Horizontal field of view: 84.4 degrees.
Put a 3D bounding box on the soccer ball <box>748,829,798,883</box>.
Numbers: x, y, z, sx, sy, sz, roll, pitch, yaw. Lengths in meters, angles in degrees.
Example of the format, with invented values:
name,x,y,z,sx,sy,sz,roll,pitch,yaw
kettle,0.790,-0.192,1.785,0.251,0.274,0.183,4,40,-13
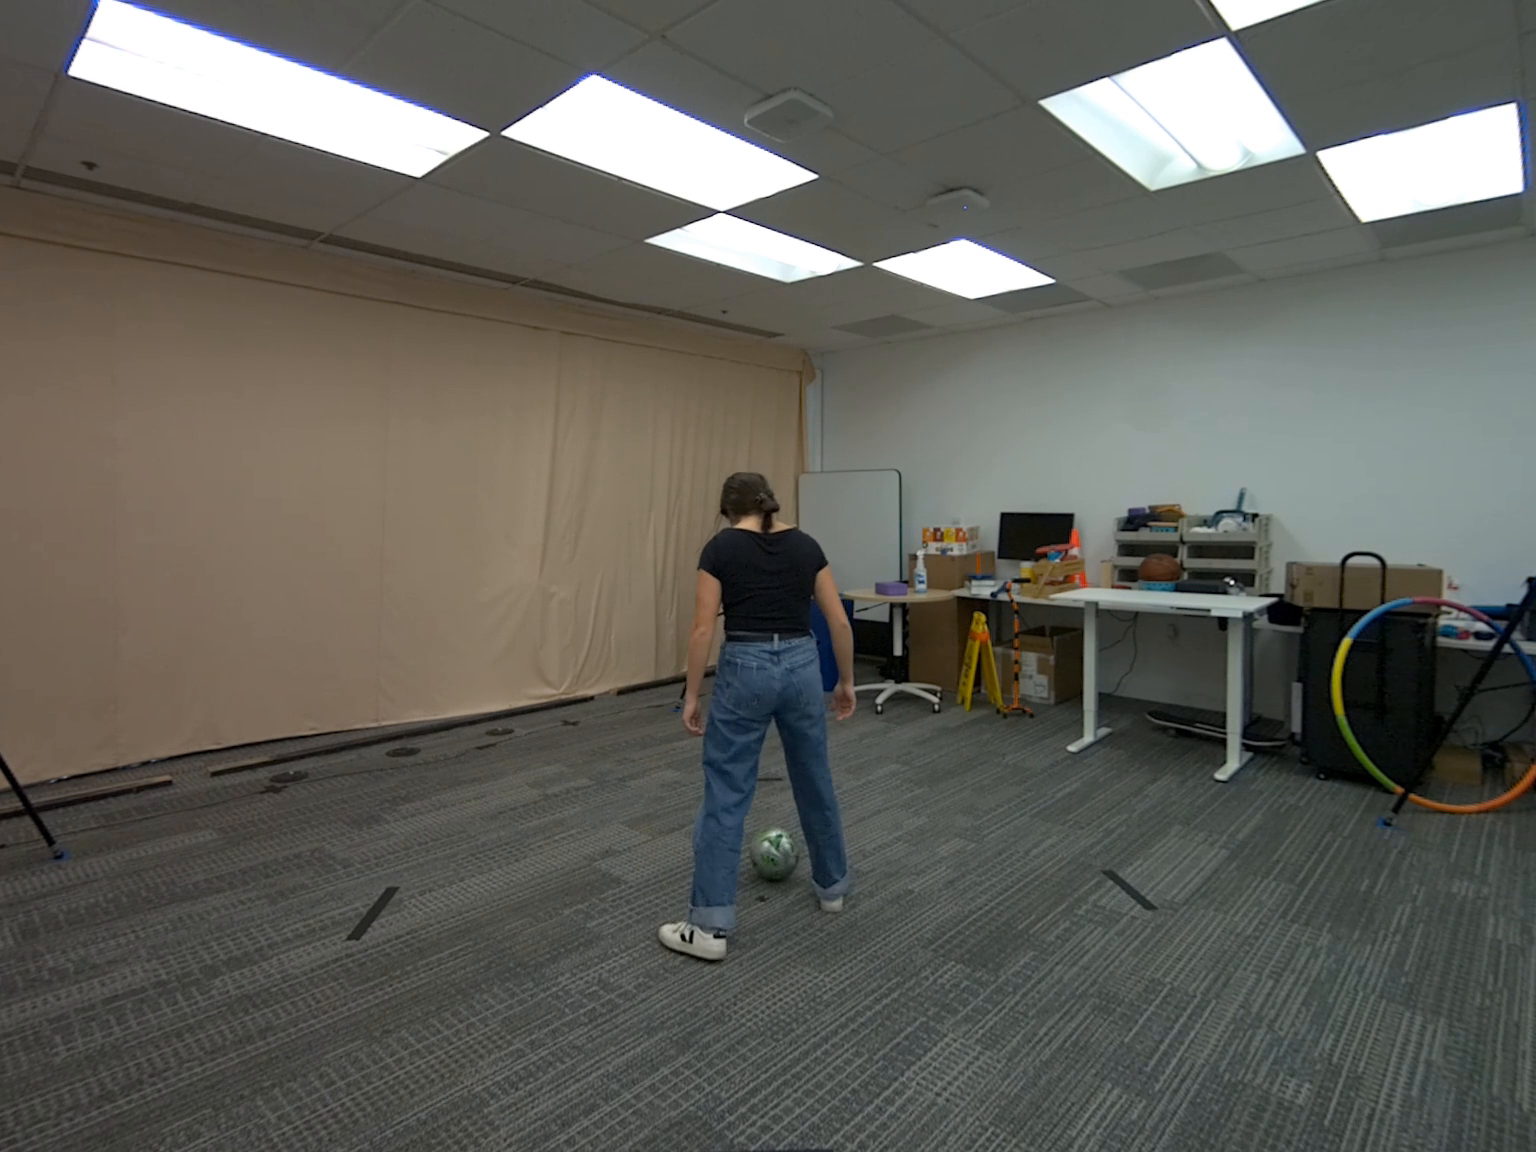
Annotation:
name,x,y,z,sx,sy,sz,roll,pitch,yaw
soccer ball,0.029,1.036,3.141,0.187,0.187,0.188,0,4,-2
